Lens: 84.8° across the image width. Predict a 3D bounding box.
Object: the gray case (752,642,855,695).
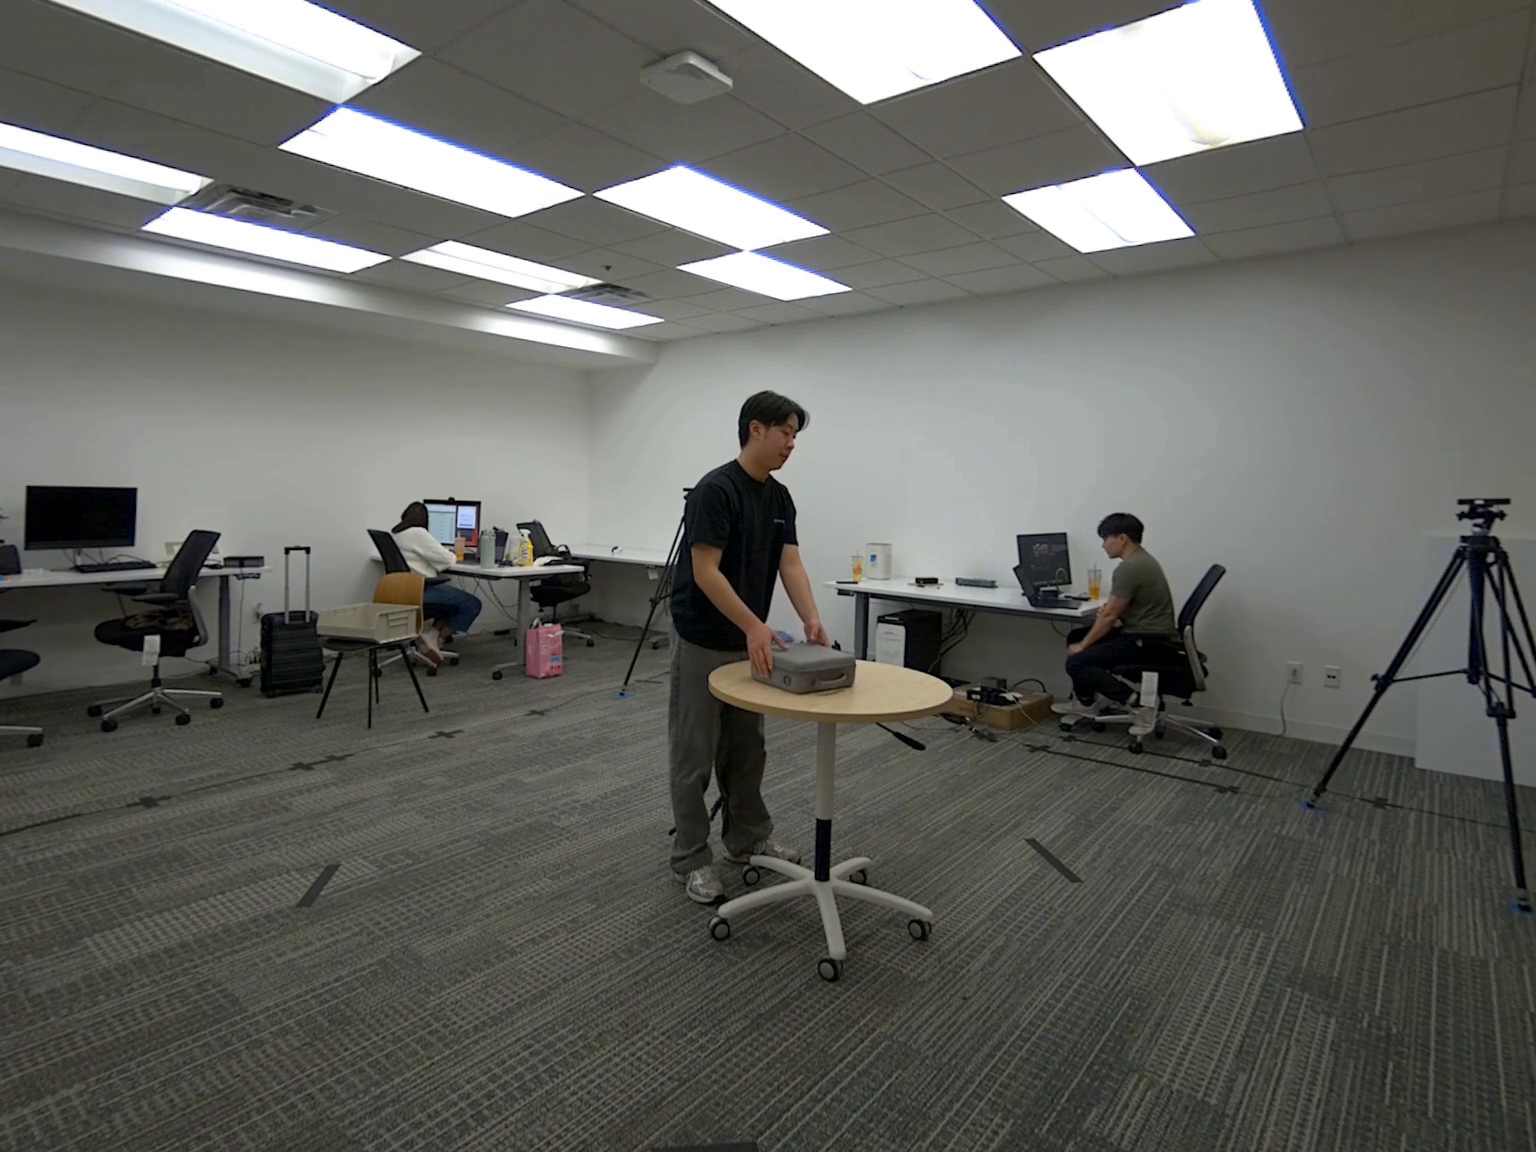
[{"bbox_3d":[0.117,0.287,2.669,0.255,0.102,0.297,-2,8,-36],"label":"gray case"}]
